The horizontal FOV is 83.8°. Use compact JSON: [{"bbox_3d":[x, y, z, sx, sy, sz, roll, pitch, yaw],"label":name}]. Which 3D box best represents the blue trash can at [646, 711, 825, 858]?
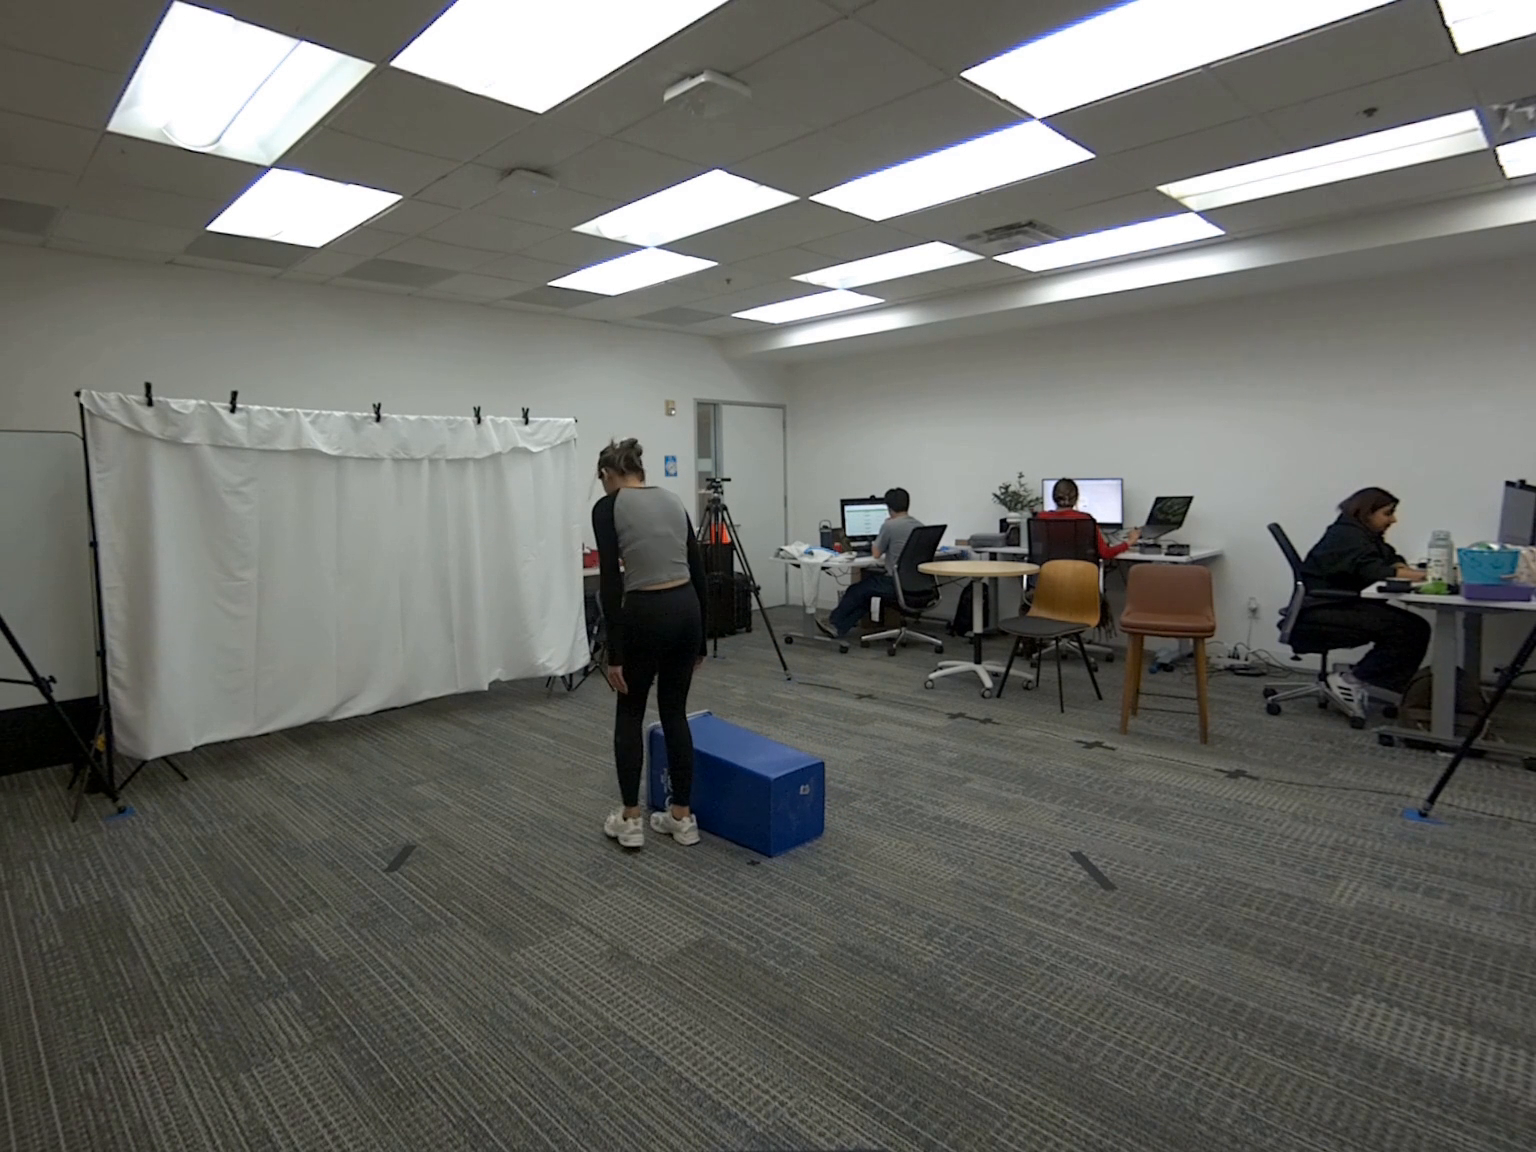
[{"bbox_3d":[-0.130,0.826,3.484,0.368,0.372,0.736,-5,8,-44],"label":"blue trash can"}]
